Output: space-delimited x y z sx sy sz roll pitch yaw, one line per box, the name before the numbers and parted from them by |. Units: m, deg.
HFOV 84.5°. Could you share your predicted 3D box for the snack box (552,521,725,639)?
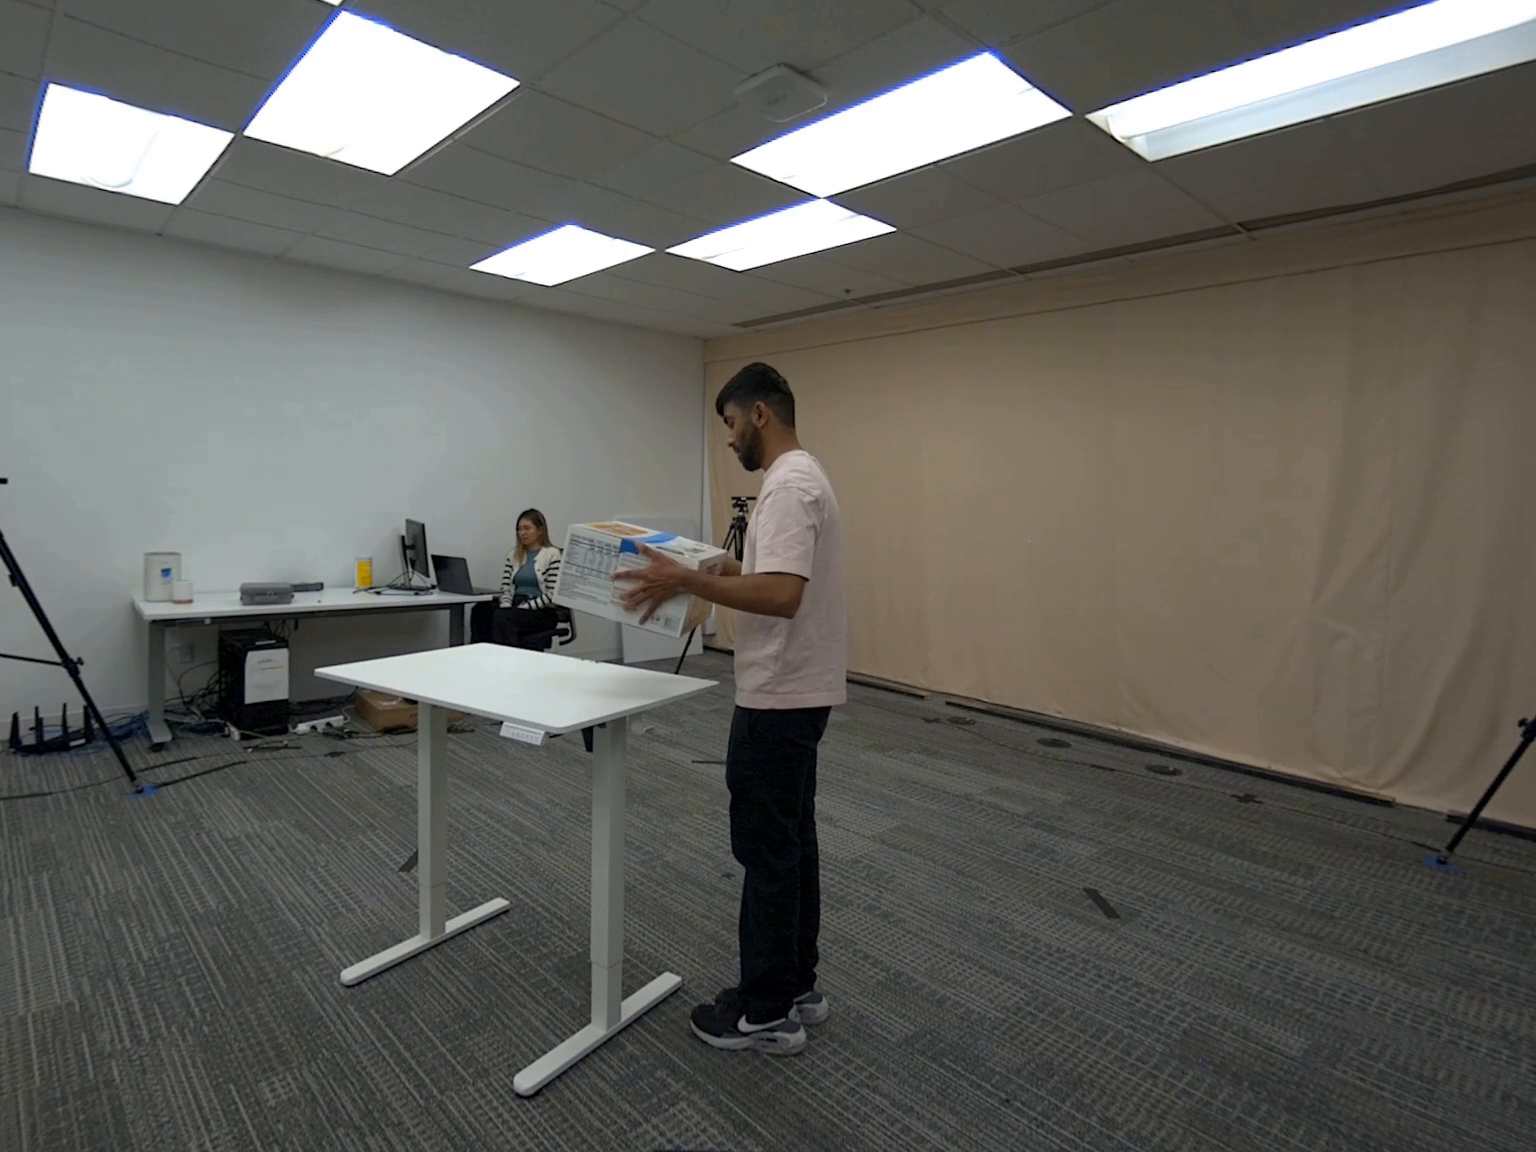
snack box | -0.333 -0.001 2.250 0.343 0.205 0.403 14 6 7
